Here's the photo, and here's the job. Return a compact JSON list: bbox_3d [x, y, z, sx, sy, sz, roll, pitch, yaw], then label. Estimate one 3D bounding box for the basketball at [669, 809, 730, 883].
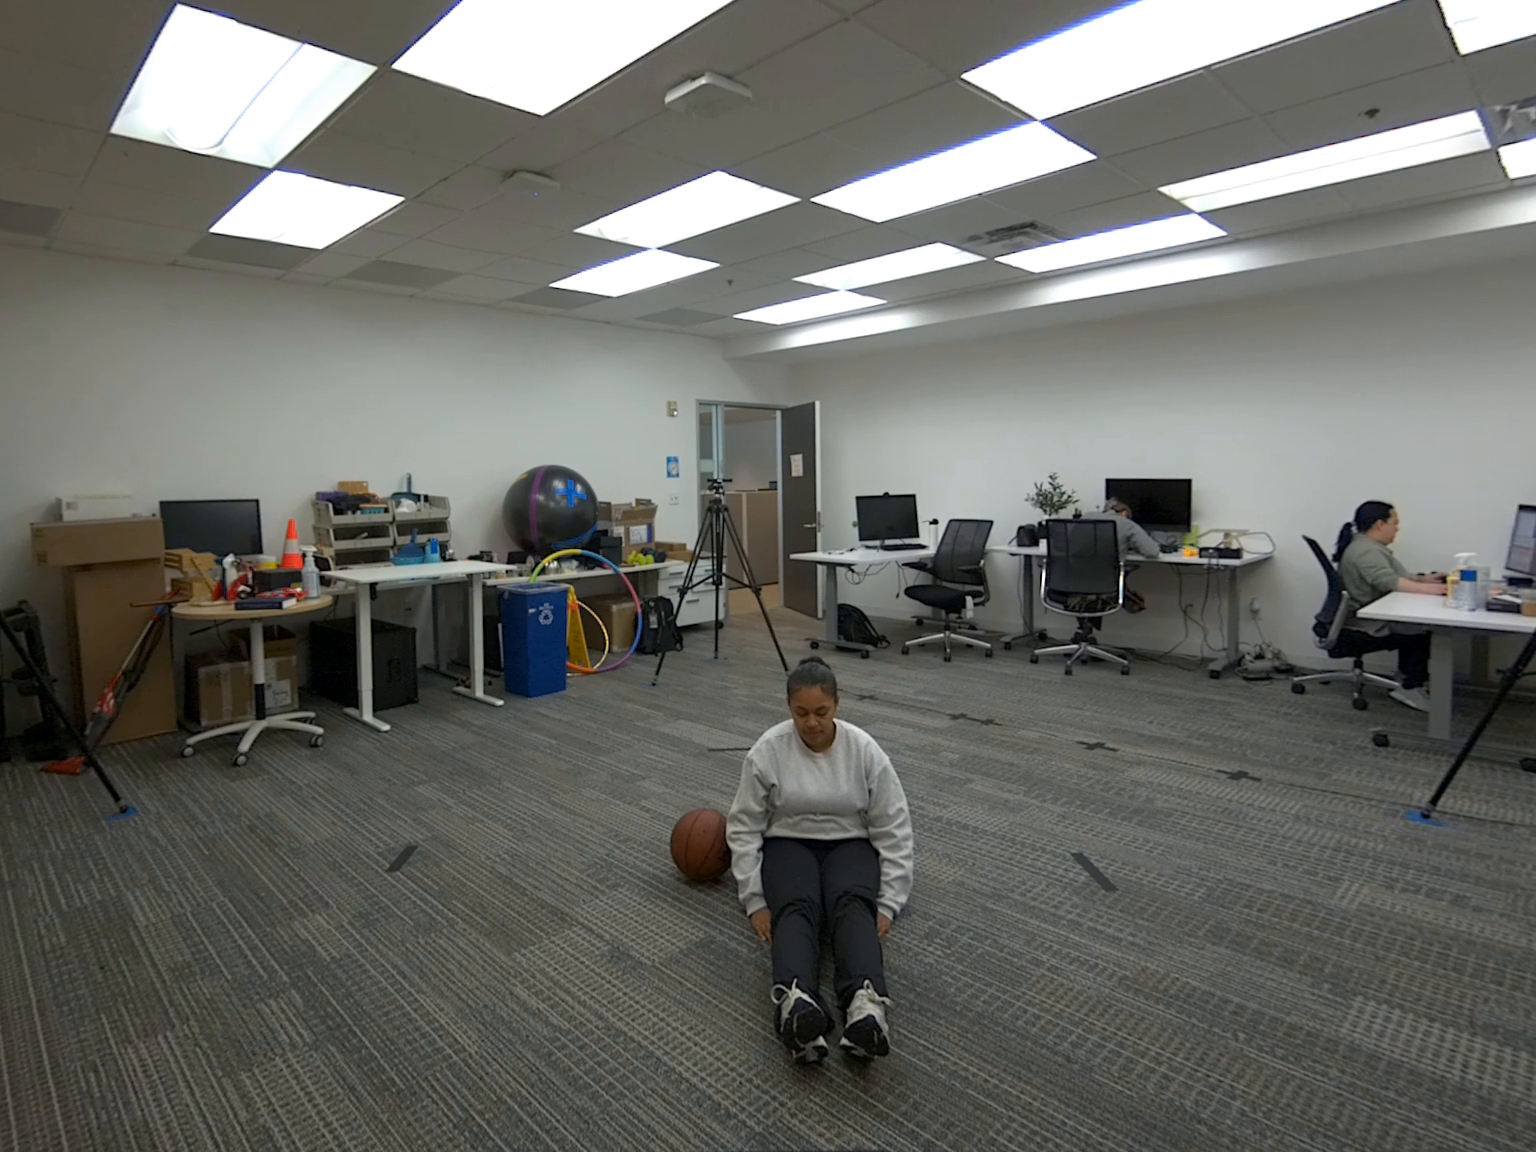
[{"bbox_3d":[-0.223,0.937,2.999,0.236,0.235,0.237,-1,5,-2],"label":"basketball"}]
